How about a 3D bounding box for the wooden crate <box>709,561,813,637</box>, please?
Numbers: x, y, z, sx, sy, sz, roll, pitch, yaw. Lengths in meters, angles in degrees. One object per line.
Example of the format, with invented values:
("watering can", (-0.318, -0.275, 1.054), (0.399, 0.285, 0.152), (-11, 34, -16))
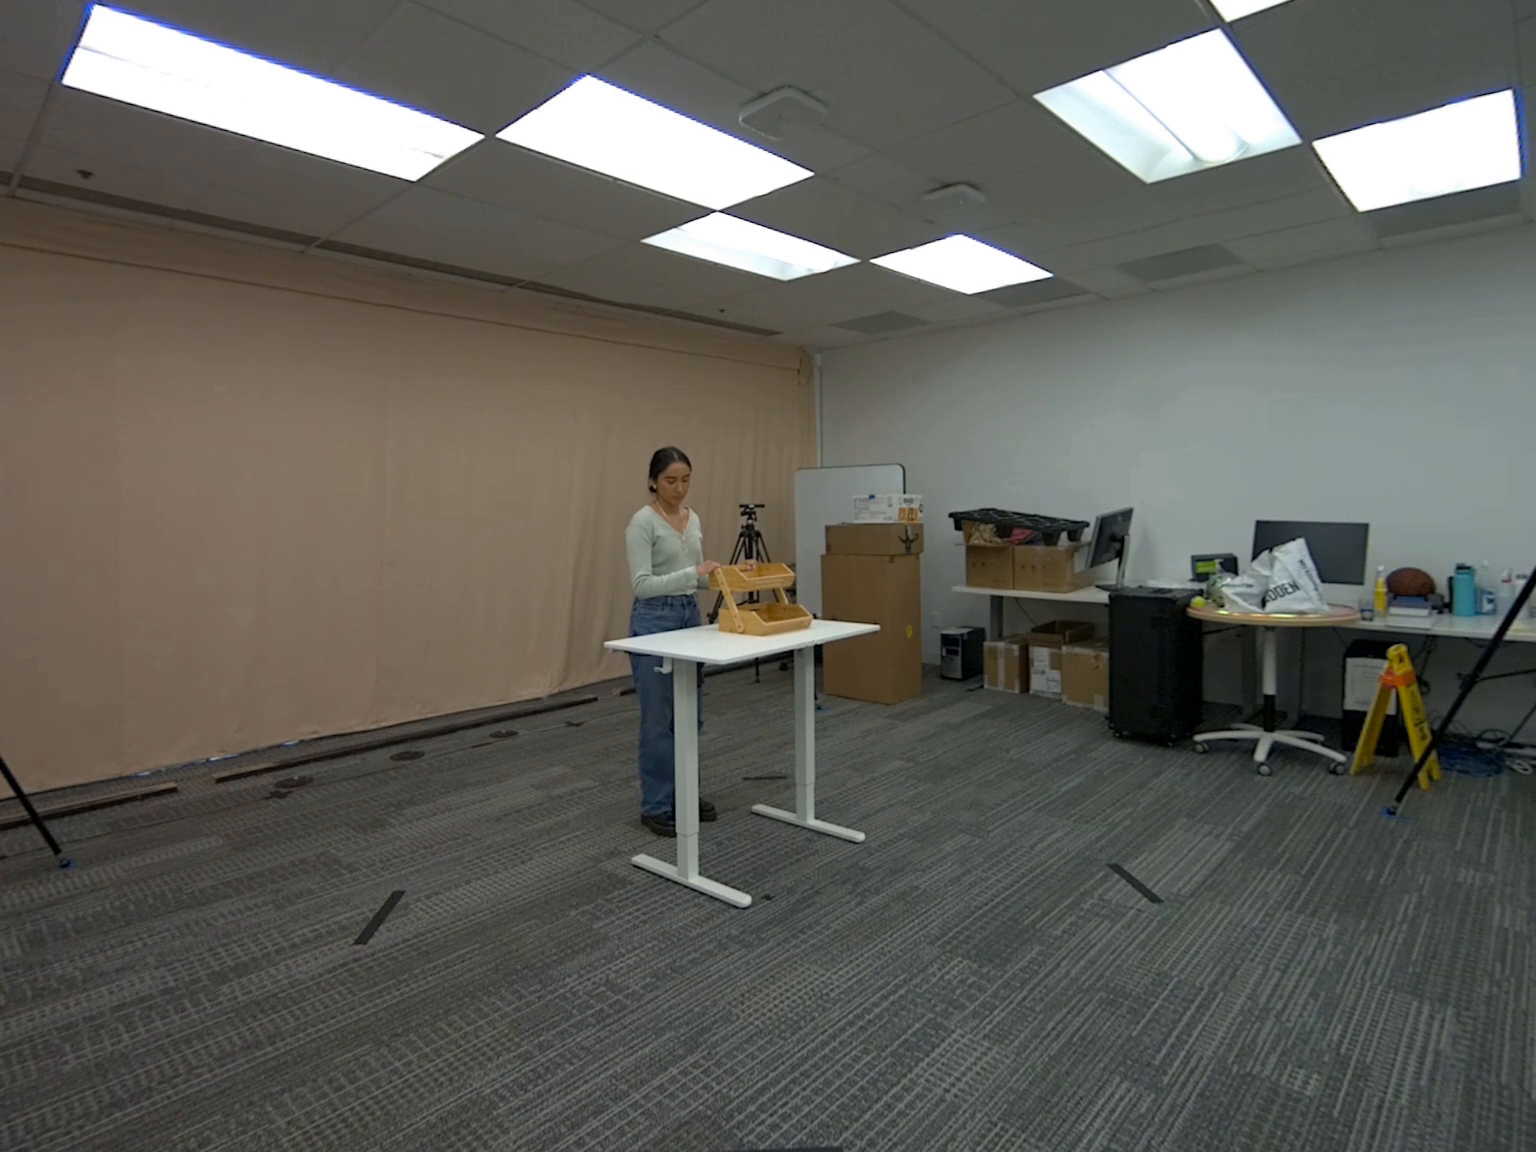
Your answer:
("wooden crate", (-0.026, 0.087, 3.455), (0.312, 0.273, 0.314), (2, 5, 43))
